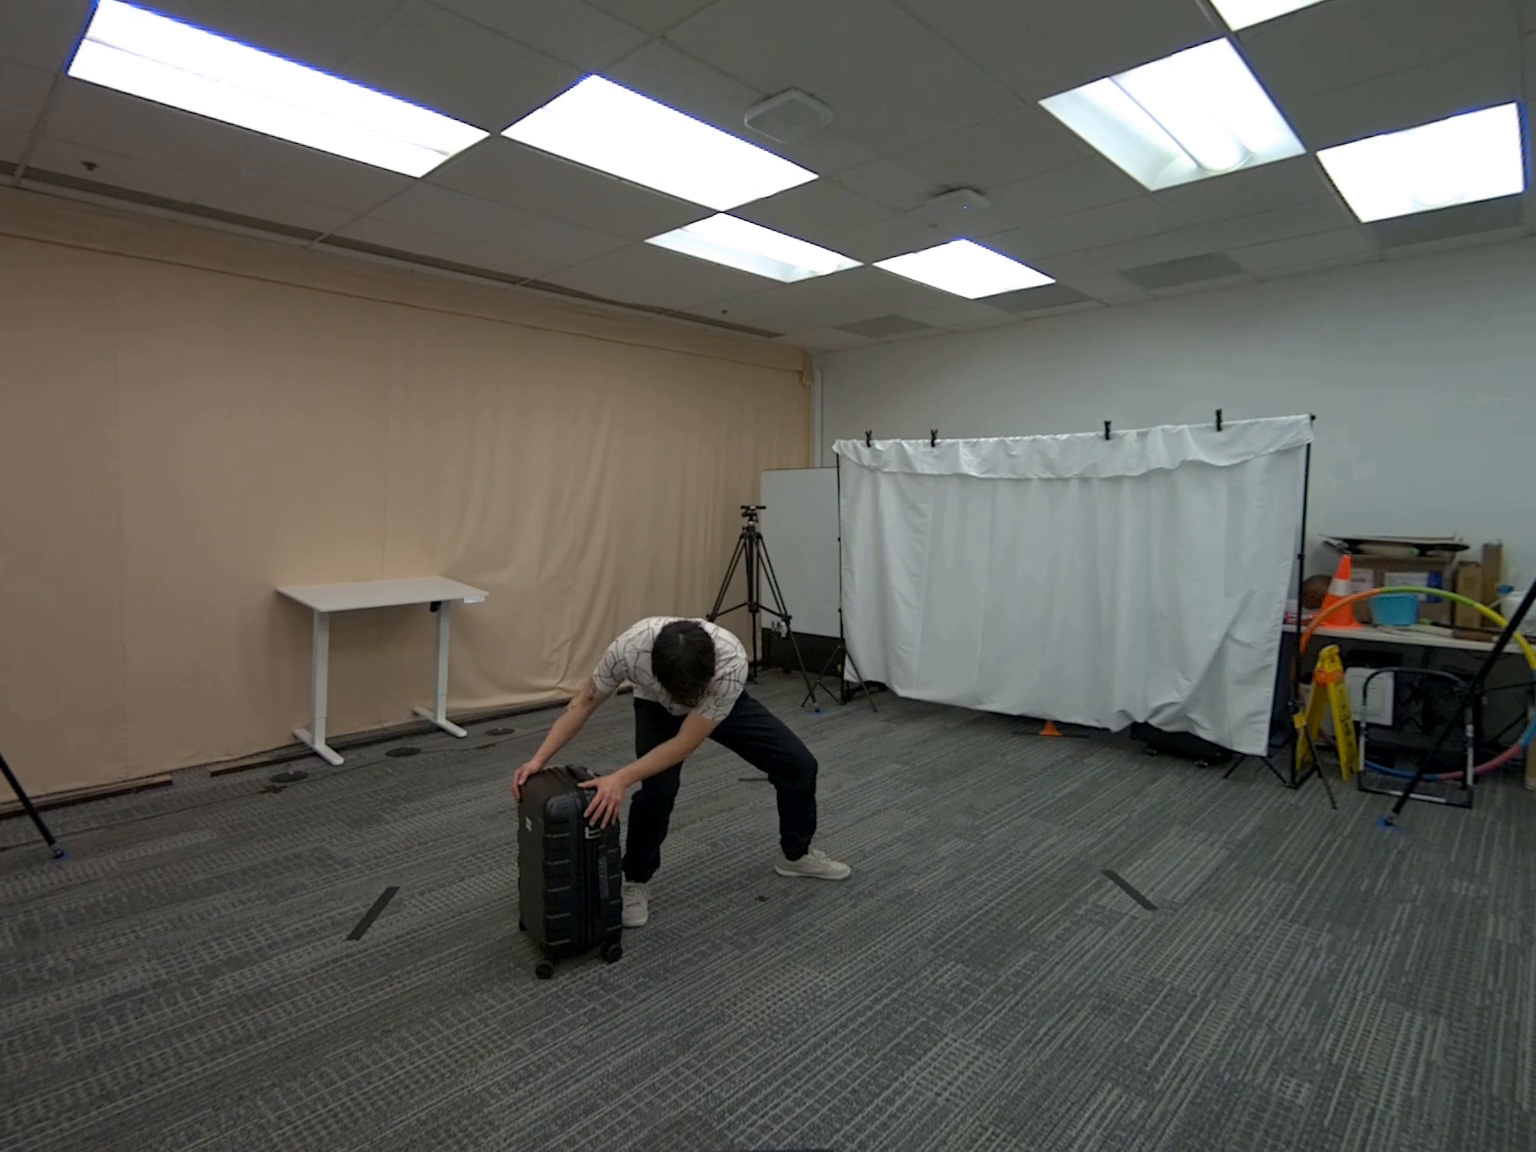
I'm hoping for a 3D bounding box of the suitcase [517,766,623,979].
[{"bbox_3d":[-0.632,0.899,2.658,0.242,0.548,0.386,-2,4,-30],"label":"suitcase"}]
